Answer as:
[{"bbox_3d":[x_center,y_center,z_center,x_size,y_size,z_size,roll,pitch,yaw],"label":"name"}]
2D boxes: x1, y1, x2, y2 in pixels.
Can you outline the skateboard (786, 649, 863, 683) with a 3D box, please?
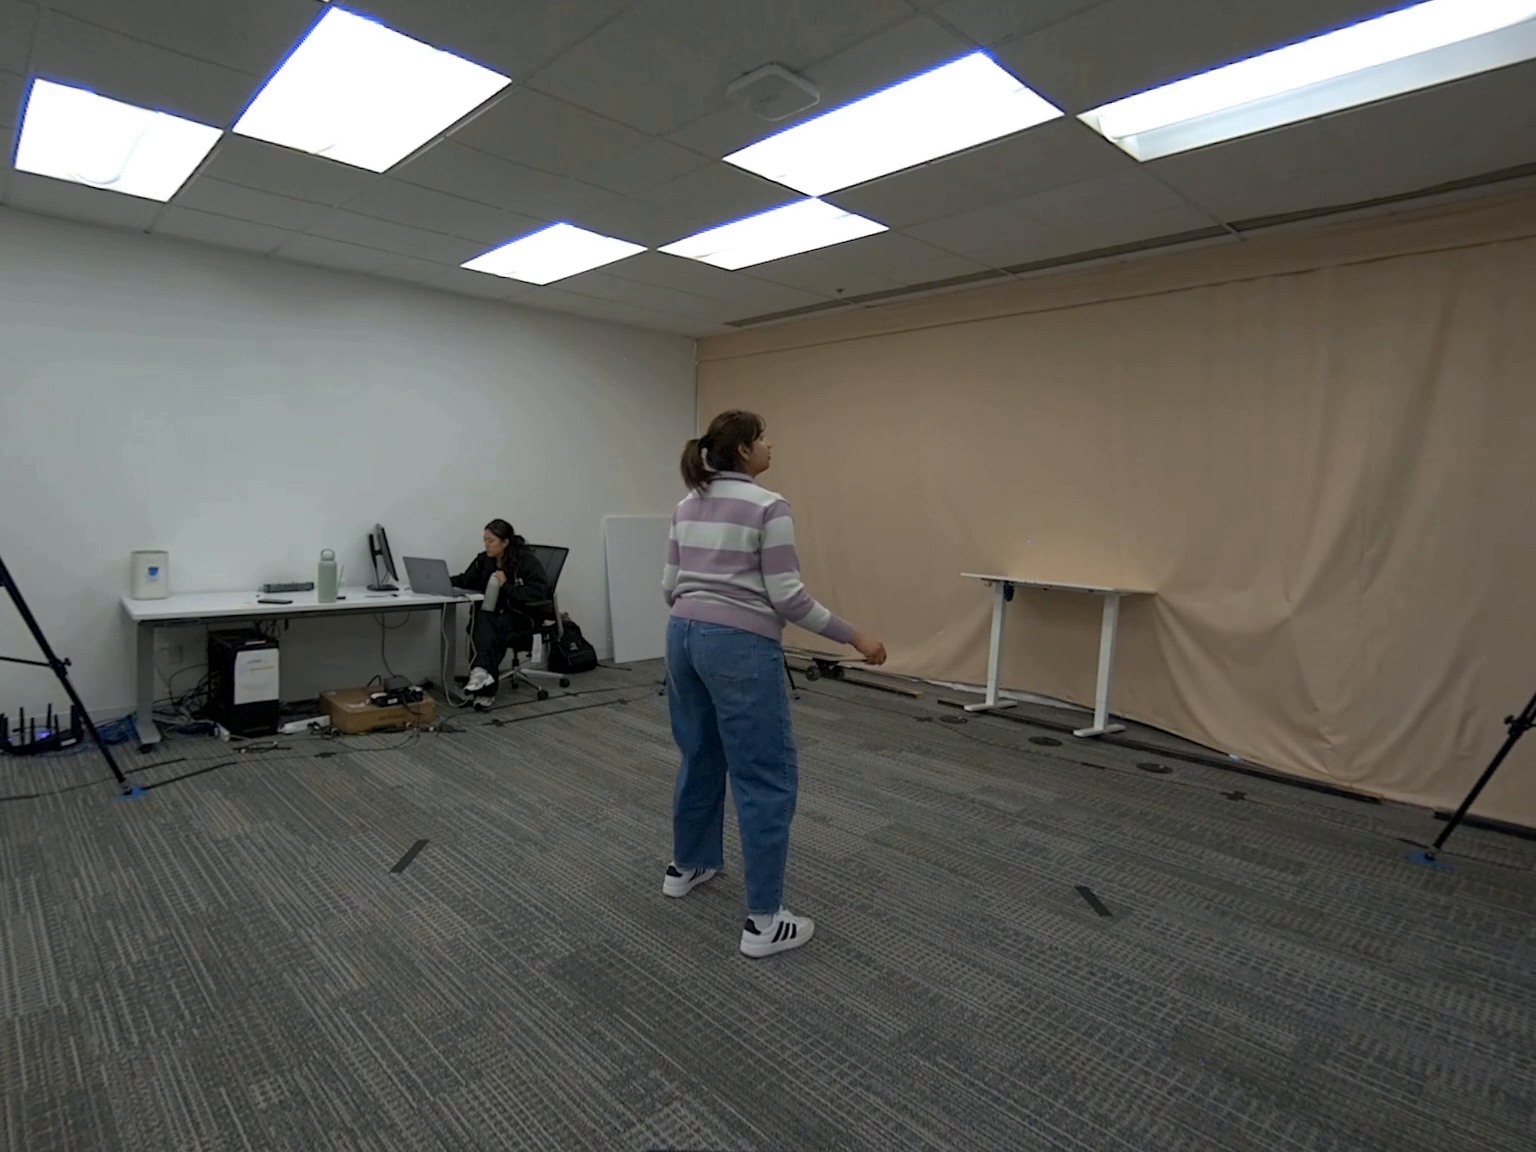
[{"bbox_3d":[0.042,0.283,2.964,0.805,0.110,0.188,5,-4,42],"label":"skateboard"}]
